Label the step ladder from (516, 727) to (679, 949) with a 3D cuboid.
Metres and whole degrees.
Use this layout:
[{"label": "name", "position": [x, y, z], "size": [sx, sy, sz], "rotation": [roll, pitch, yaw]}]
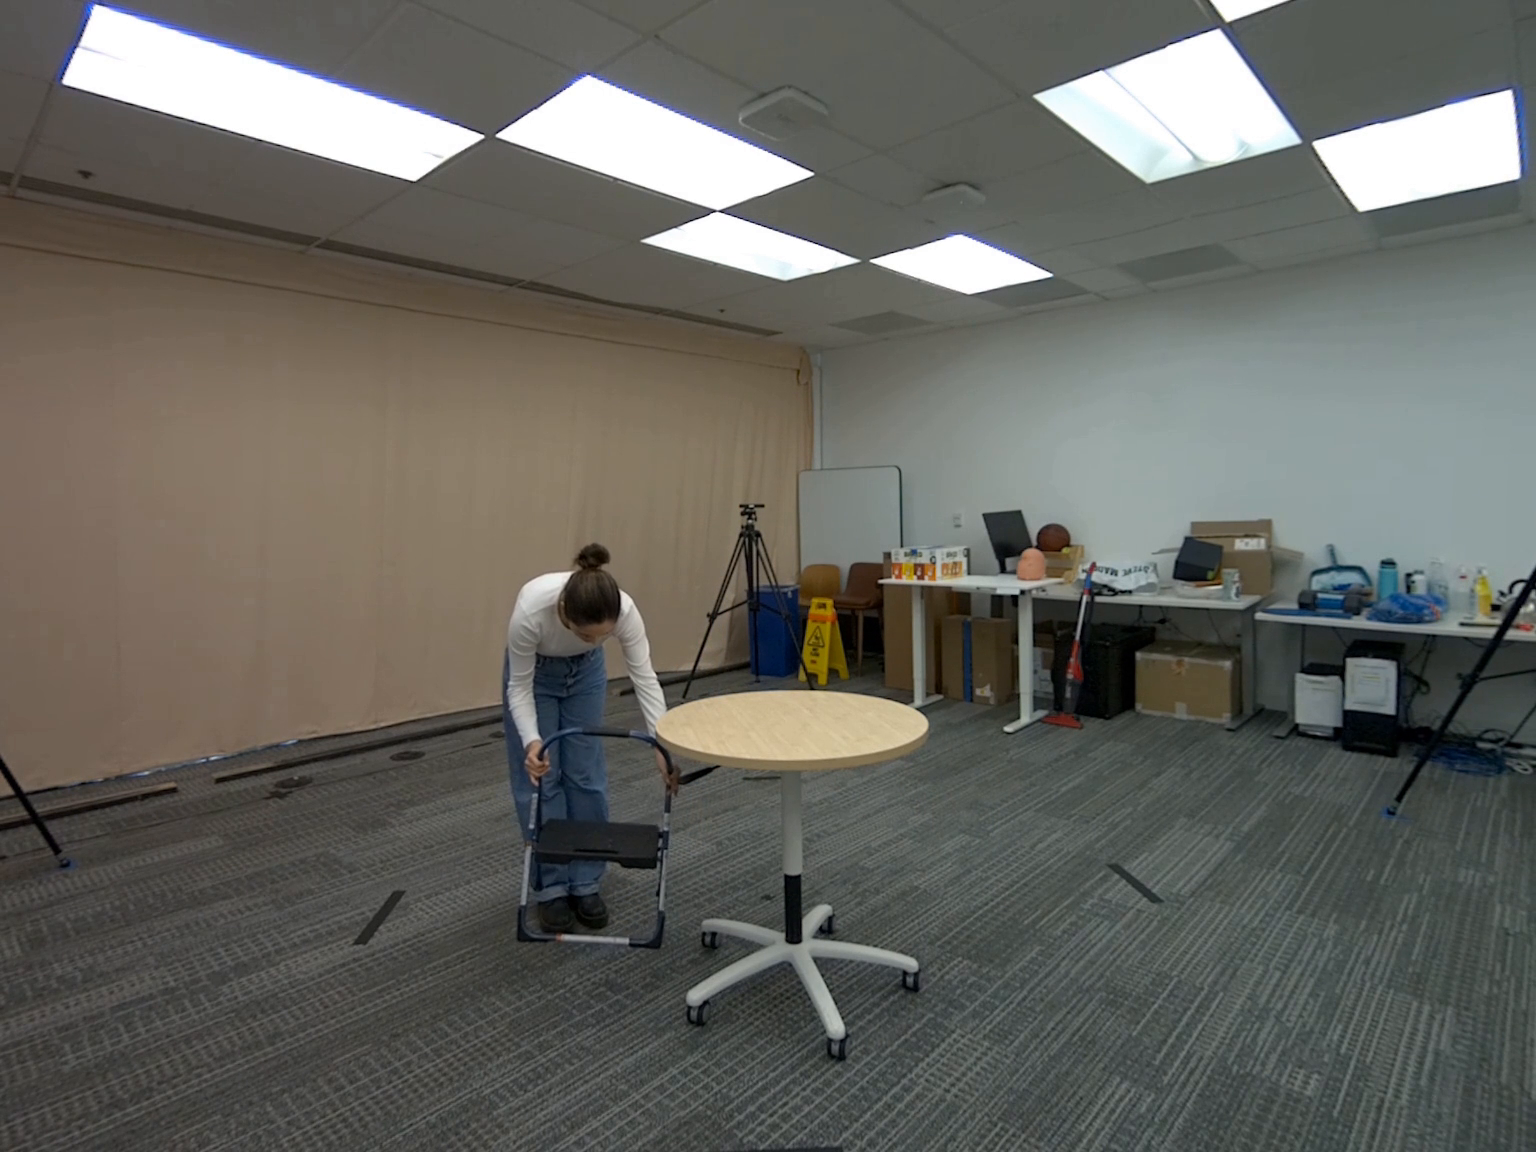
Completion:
[{"label": "step ladder", "position": [-0.507, 0.737, 2.544], "size": [0.429, 0.605, 0.351], "rotation": [4, 4, -4]}]
